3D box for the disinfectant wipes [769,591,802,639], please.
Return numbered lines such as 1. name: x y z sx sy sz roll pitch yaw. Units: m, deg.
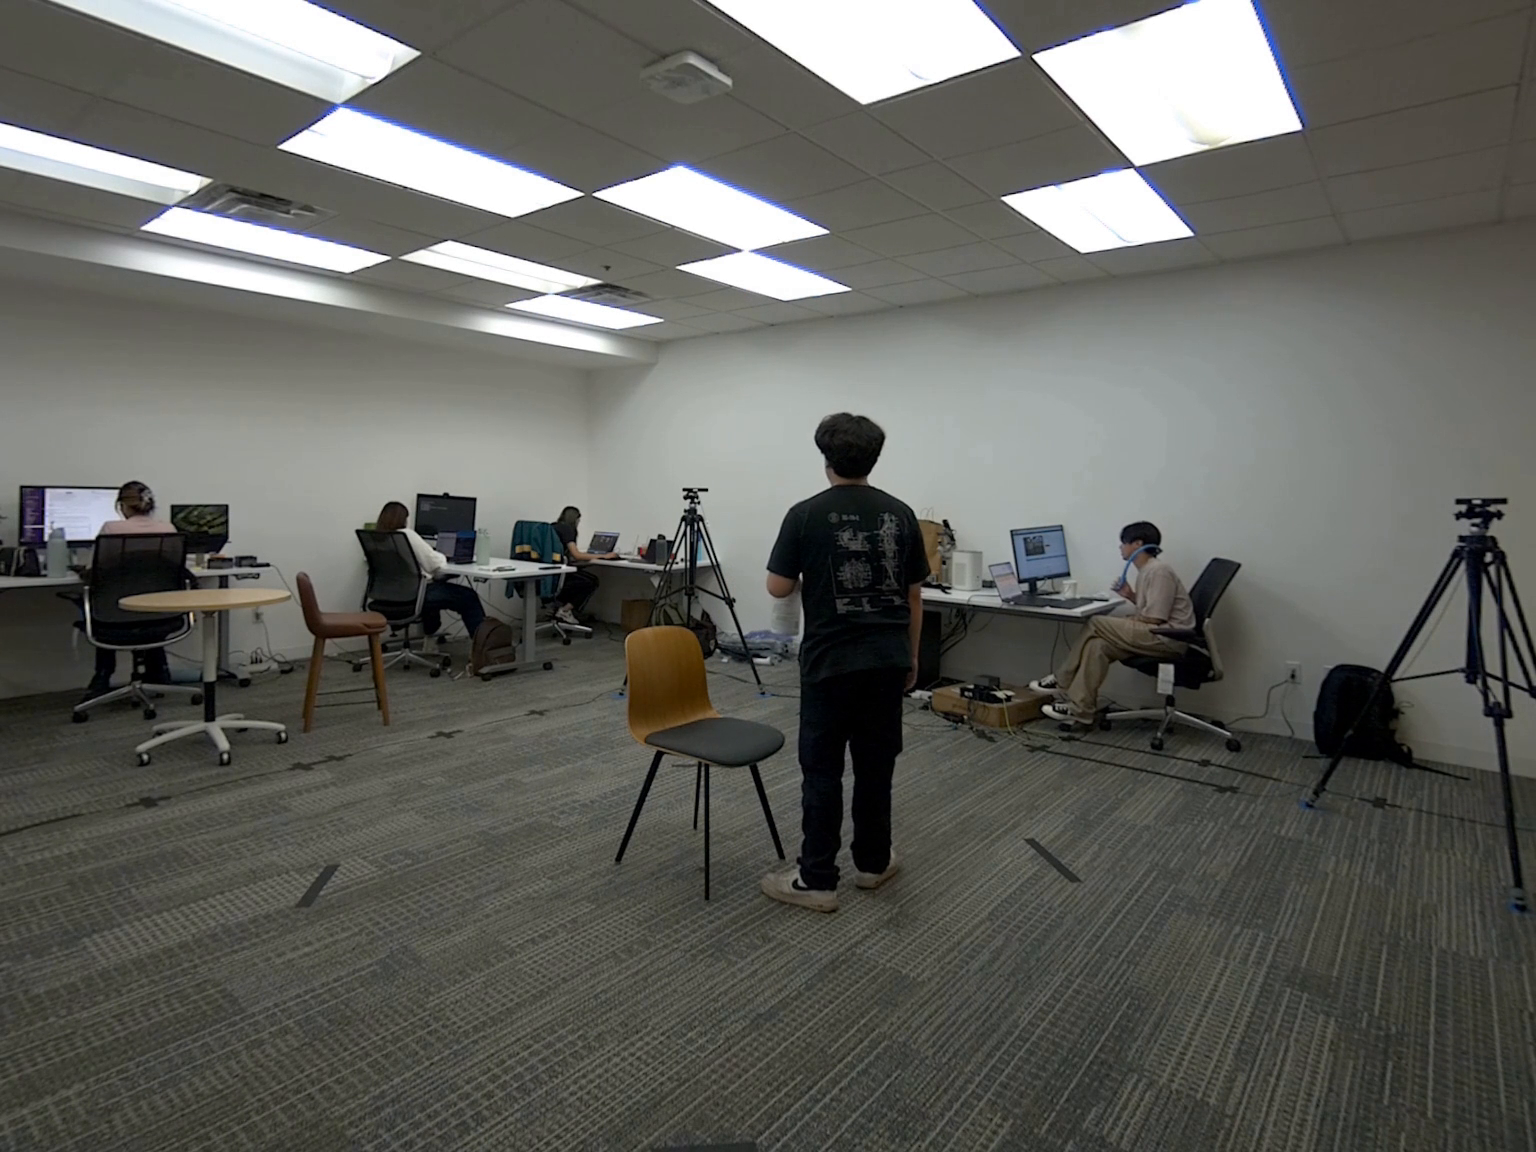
1. disinfectant wipes: 0.062 0.112 3.263 0.117 0.216 0.118 2 6 -2
